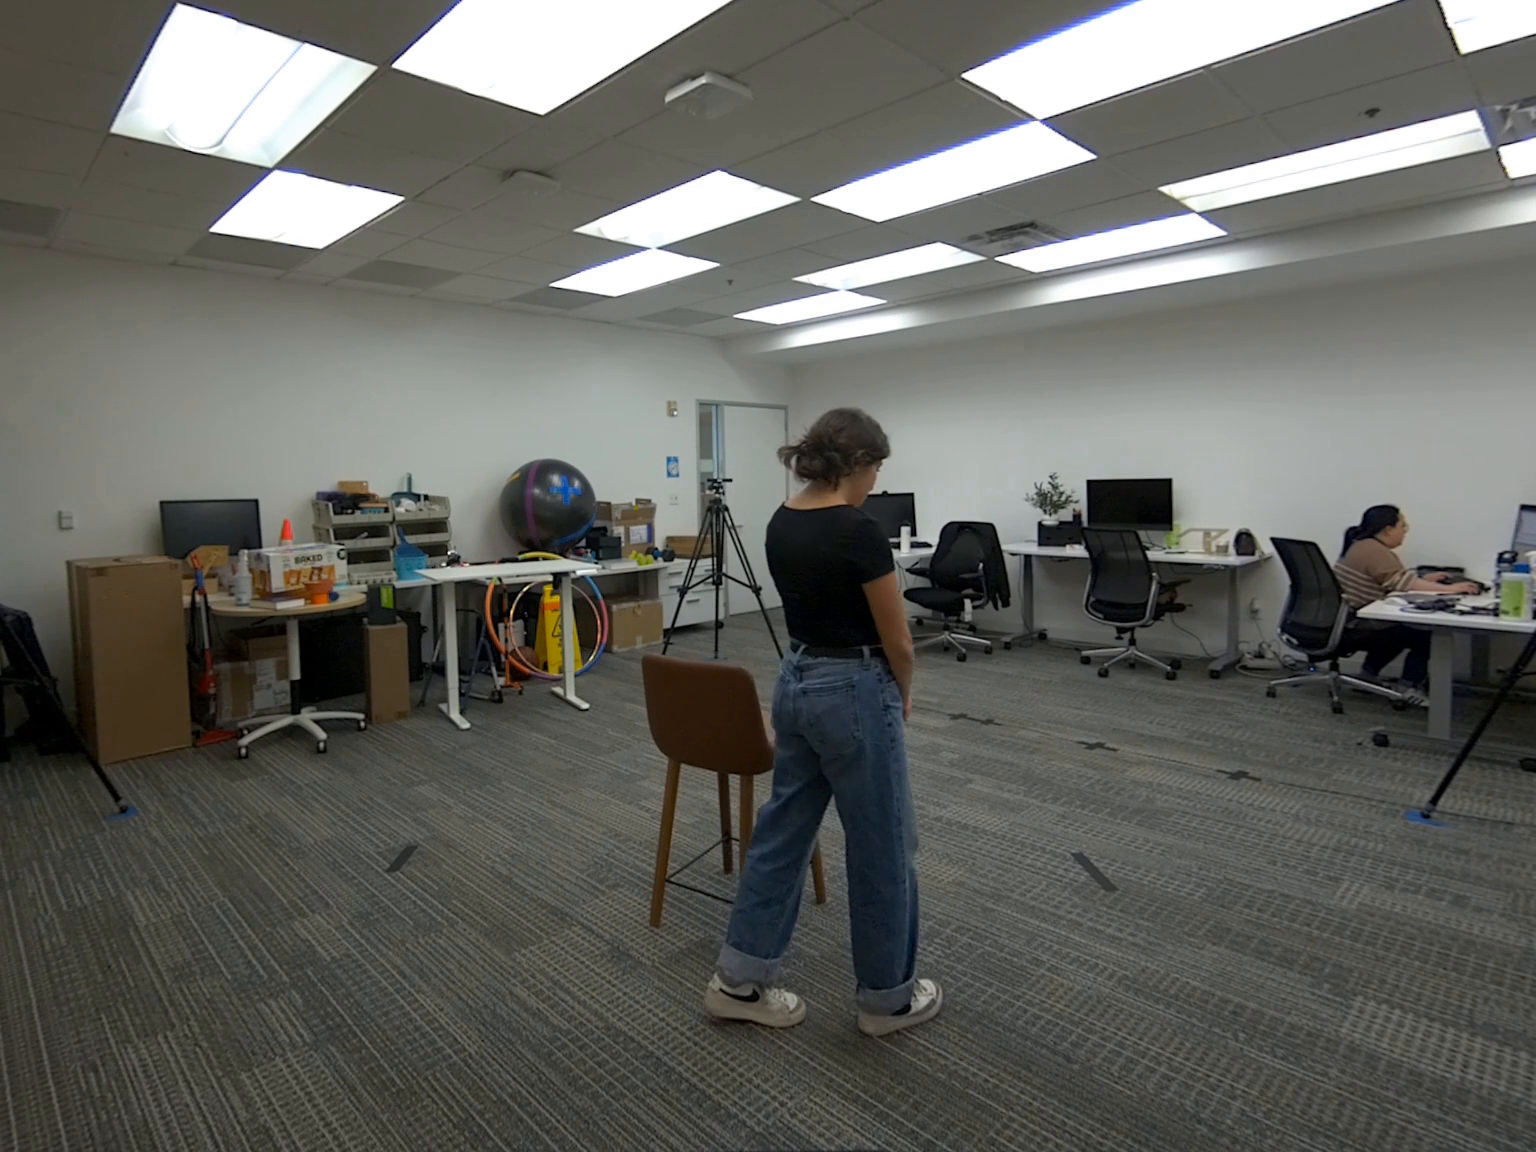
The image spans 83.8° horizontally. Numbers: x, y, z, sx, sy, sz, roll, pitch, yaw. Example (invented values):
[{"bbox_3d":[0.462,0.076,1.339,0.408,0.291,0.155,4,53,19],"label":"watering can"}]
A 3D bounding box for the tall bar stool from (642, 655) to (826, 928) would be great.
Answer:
[{"bbox_3d":[-0.108,0.659,2.726,0.469,0.885,0.457,2,7,35],"label":"tall bar stool"}]
